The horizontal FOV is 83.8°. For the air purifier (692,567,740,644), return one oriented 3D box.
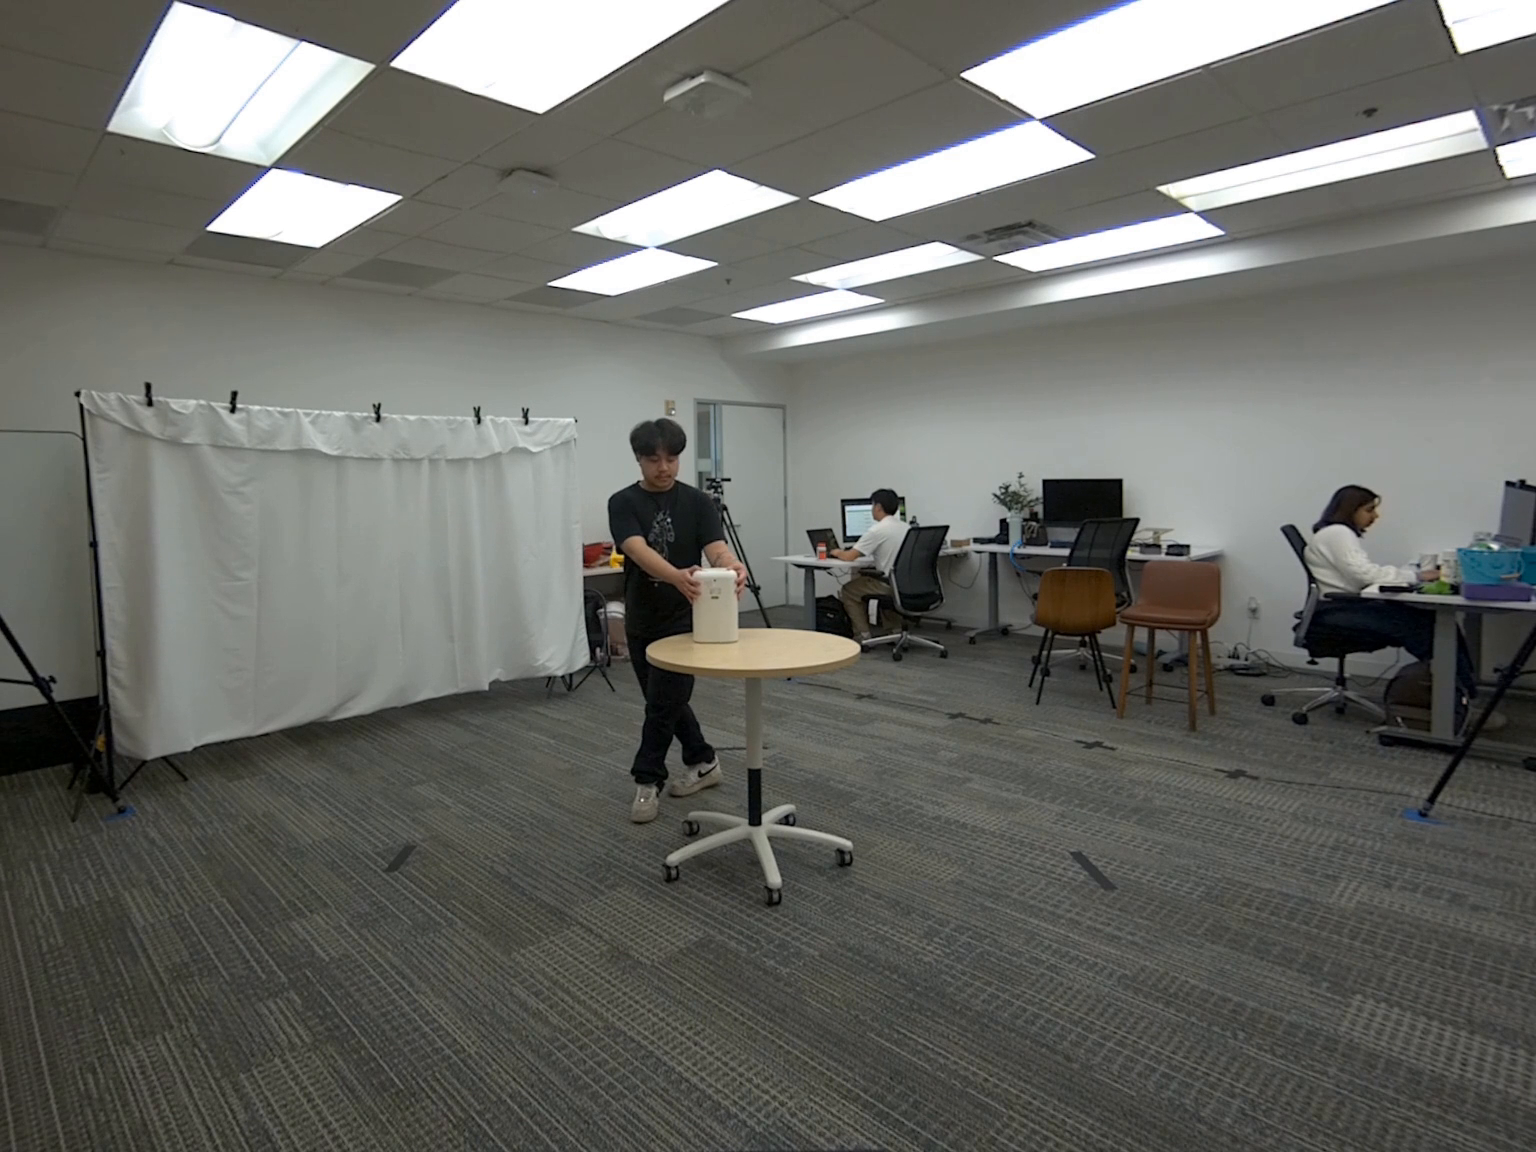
[{"bbox_3d":[-0.194,0.109,3.211,0.171,0.265,0.171,-1,2,1],"label":"air purifier"}]
